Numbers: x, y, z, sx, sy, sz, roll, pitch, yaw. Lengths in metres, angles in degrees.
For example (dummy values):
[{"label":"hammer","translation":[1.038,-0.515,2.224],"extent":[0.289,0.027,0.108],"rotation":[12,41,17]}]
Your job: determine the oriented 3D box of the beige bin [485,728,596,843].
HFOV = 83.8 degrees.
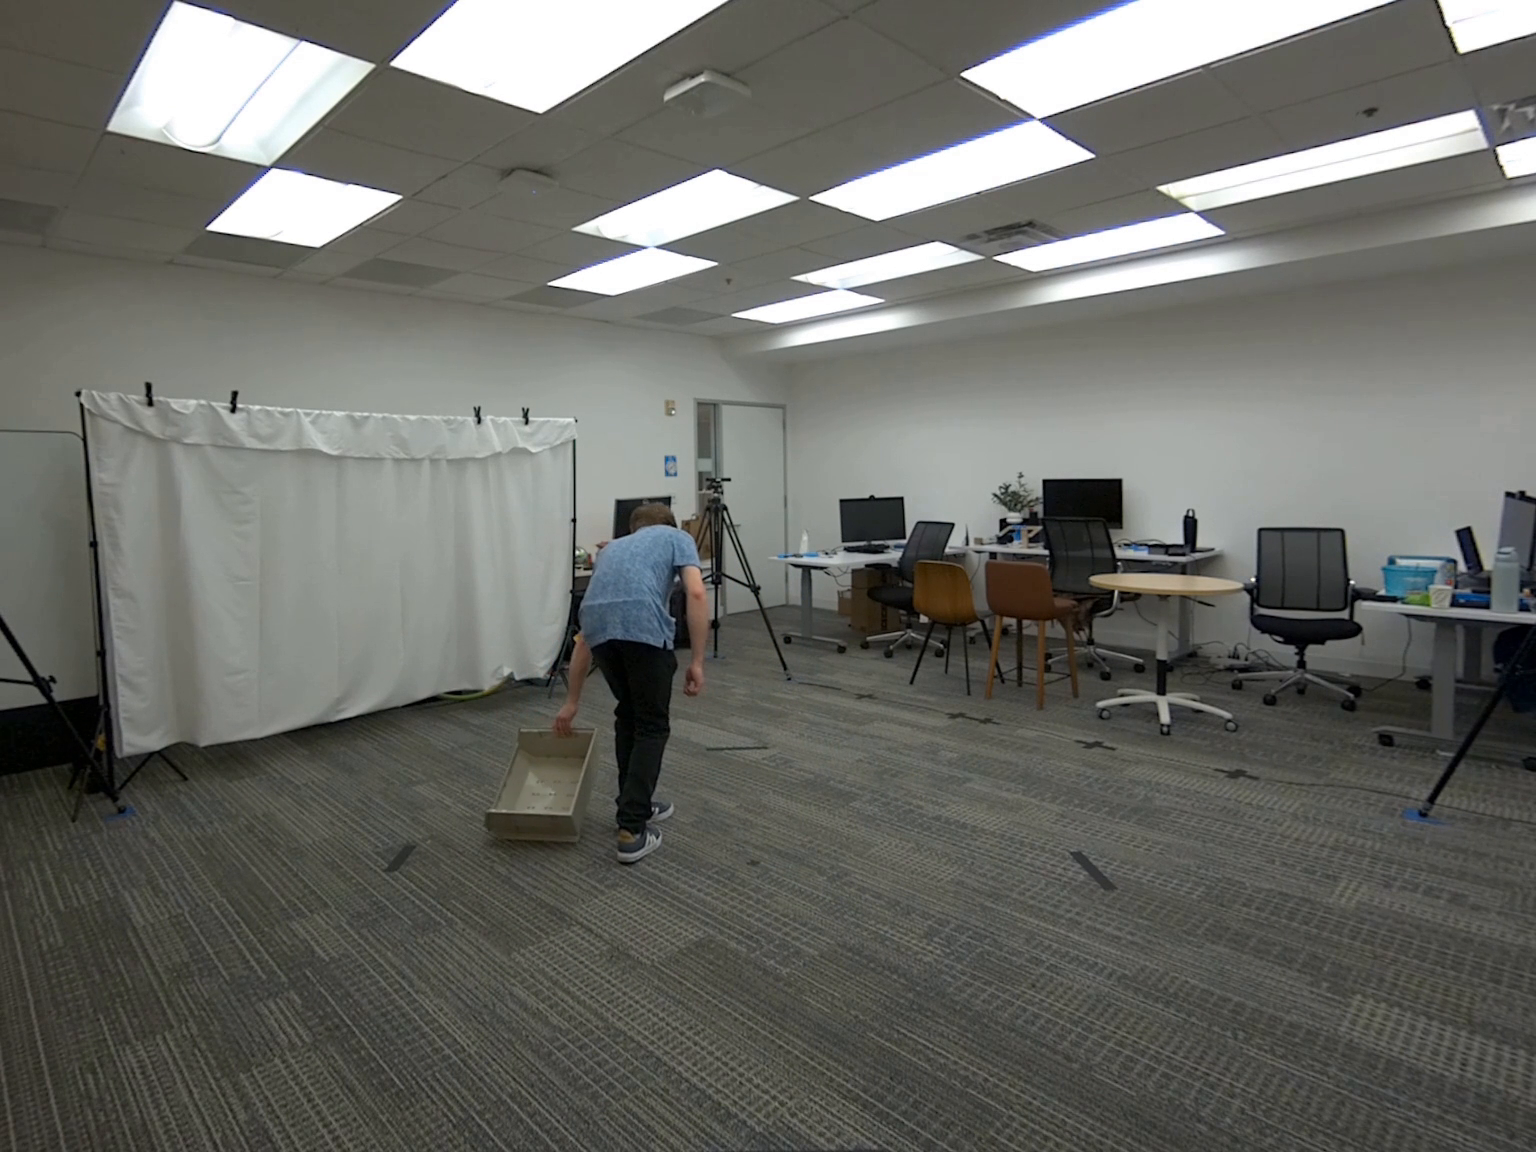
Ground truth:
[{"label":"beige bin","translation":[-0.908,0.838,3.449],"extent":[0.380,0.183,0.431],"rotation":[0,38,7]}]
